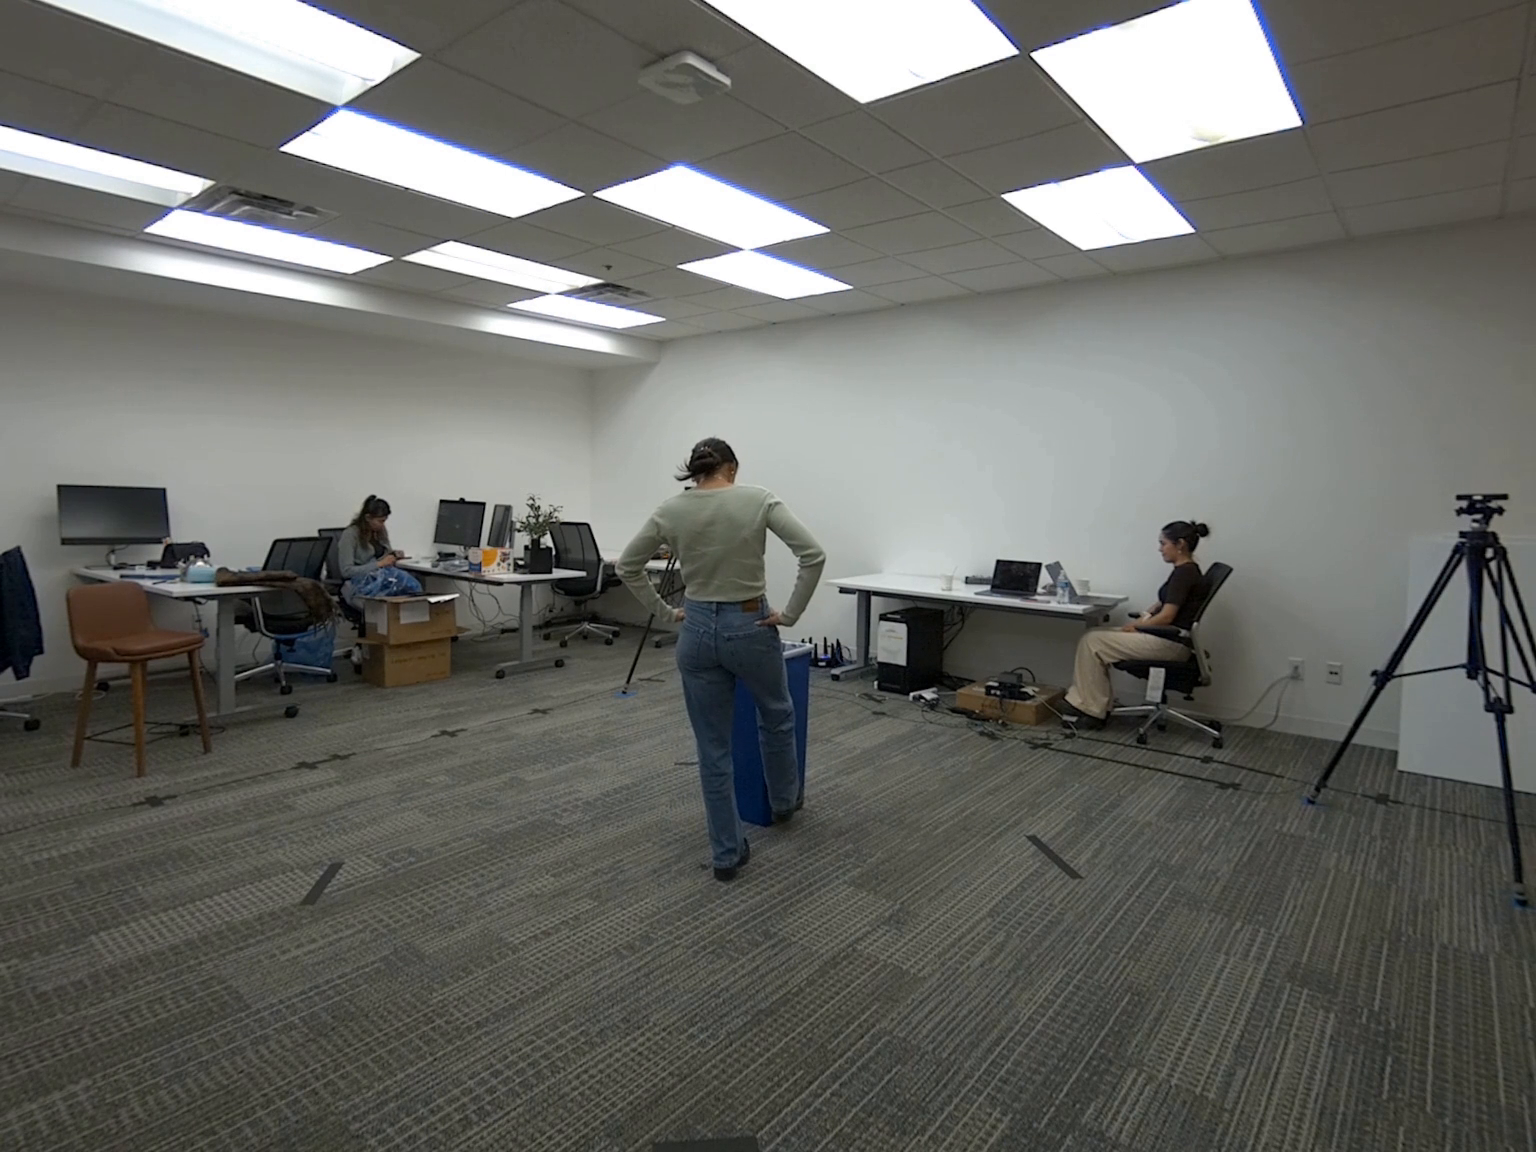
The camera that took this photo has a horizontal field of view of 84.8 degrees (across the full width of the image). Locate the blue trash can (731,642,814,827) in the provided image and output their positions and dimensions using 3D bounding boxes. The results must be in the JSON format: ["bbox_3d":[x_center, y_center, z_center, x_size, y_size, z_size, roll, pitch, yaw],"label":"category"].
[{"bbox_3d":[-0.062,0.651,3.682,0.386,0.711,0.367,3,4,37],"label":"blue trash can"}]
